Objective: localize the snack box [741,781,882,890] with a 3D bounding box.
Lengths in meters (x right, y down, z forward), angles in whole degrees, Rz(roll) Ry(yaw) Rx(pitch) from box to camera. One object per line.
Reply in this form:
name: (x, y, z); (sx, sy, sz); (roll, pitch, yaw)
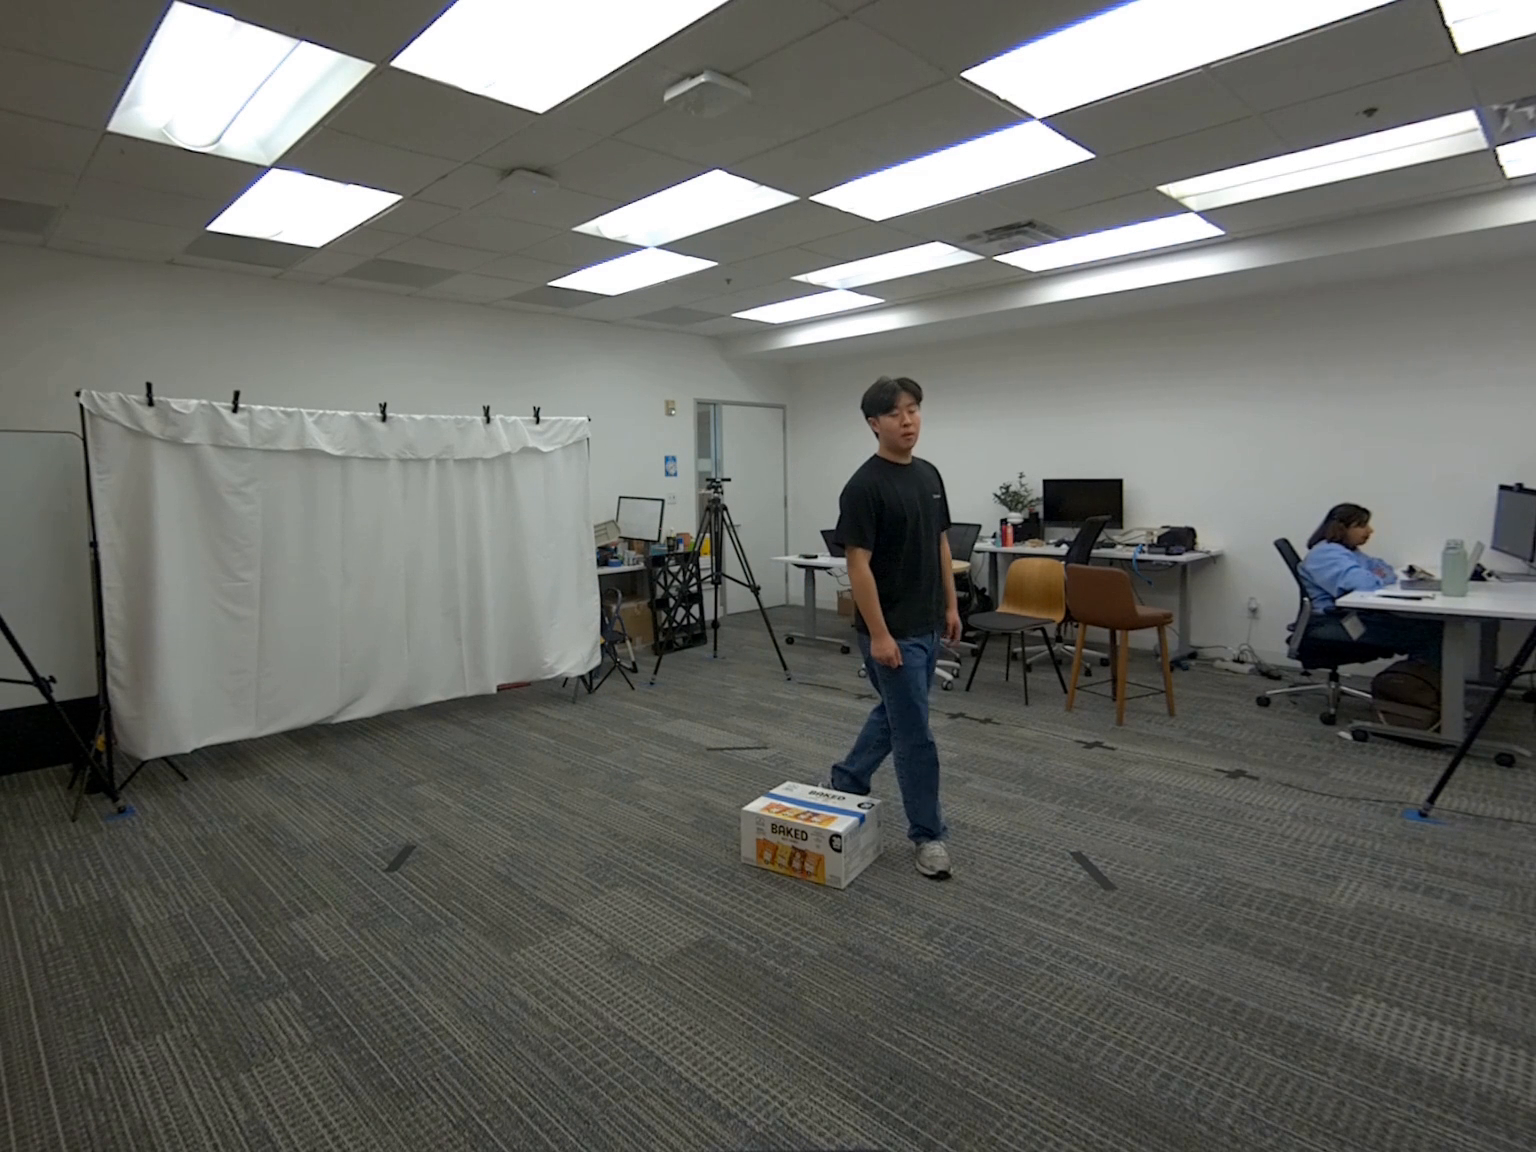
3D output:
snack box: (0.168, 0.935, 3.123); (0.416, 0.205, 0.332); (3, 7, 32)
